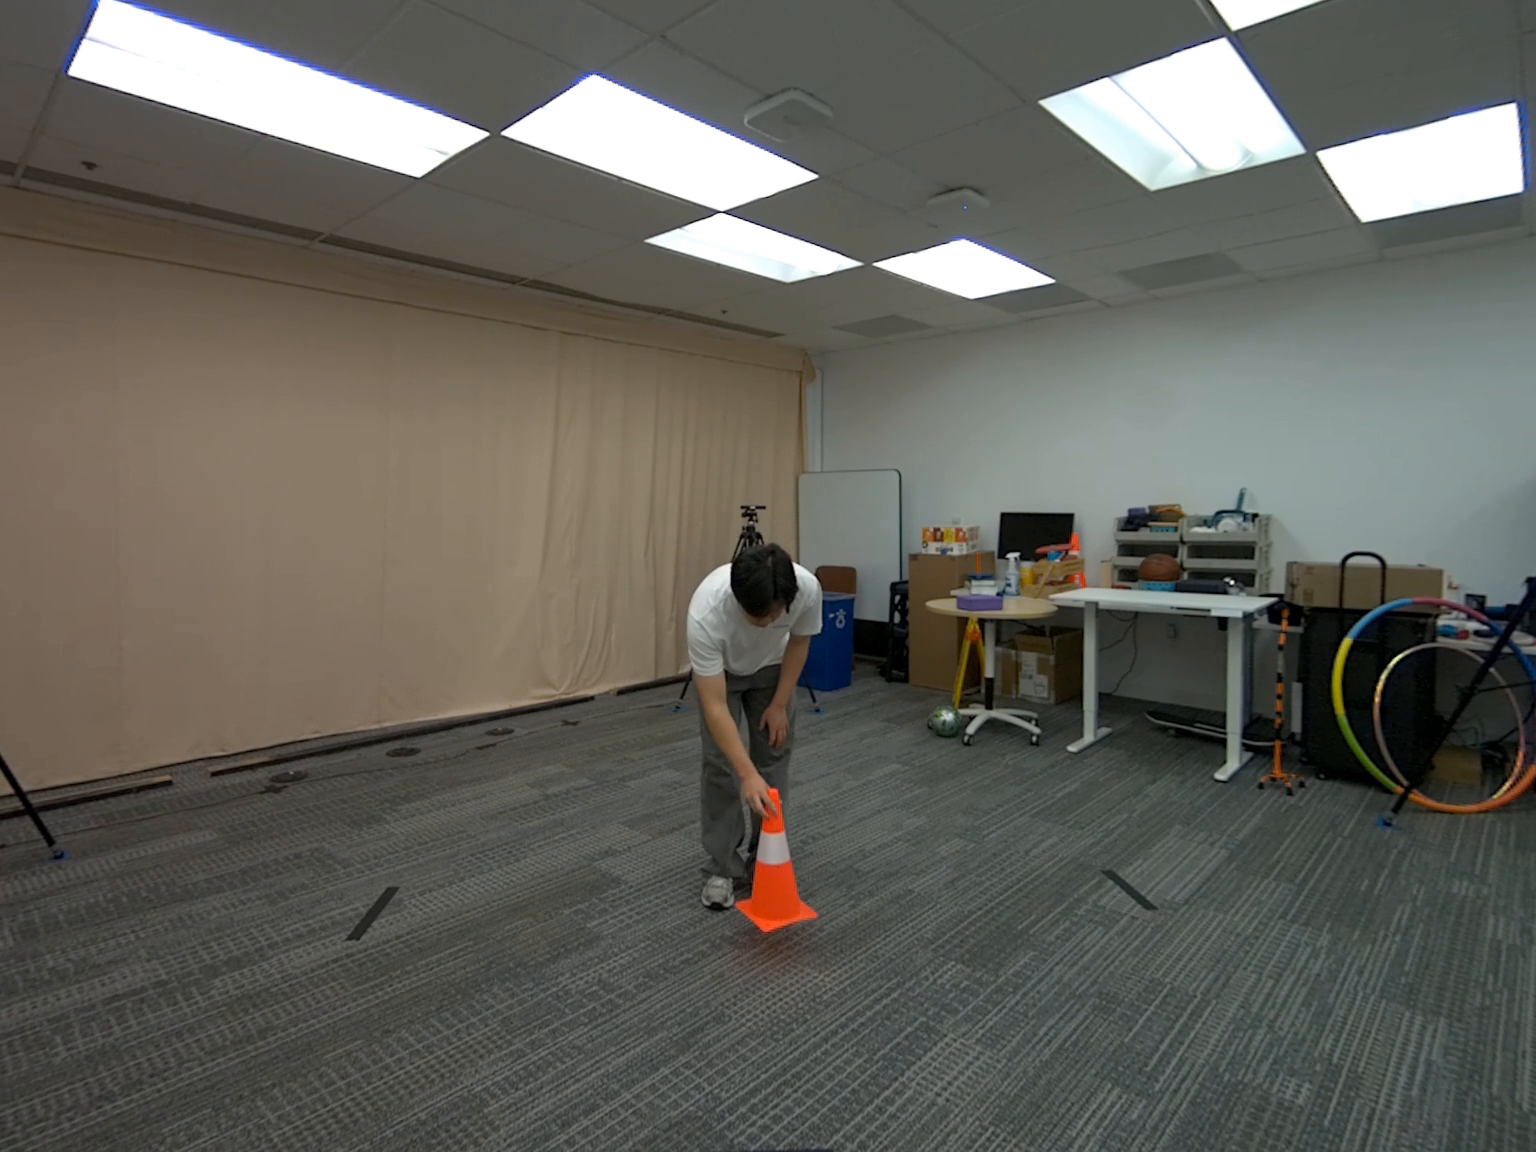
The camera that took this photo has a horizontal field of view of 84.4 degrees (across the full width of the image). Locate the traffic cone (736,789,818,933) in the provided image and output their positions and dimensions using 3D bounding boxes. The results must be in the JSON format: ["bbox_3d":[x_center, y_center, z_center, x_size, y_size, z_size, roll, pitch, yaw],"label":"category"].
[{"bbox_3d":[0.015,0.845,2.643,0.198,0.383,0.210,-4,2,-30],"label":"traffic cone"}]
